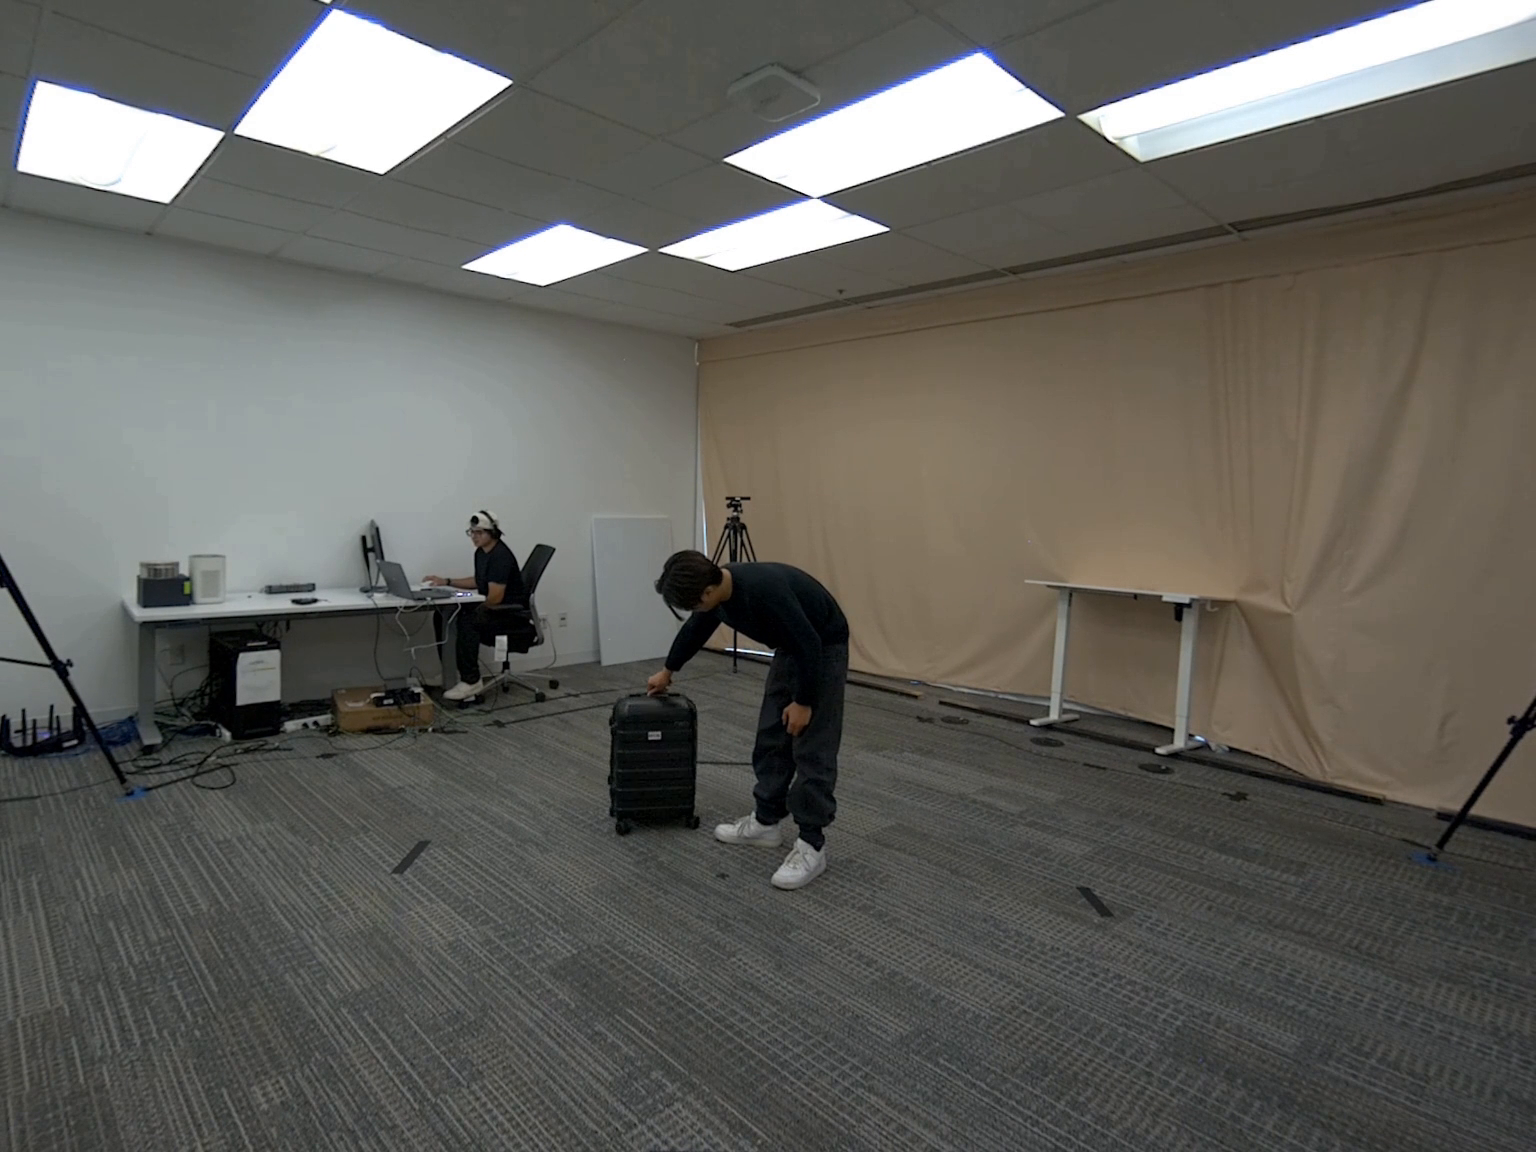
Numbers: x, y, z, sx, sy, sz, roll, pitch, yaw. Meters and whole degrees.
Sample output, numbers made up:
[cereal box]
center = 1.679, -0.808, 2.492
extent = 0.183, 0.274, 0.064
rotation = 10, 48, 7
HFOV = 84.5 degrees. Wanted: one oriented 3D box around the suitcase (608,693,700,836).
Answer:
[suitcase]
center = -0.493, 0.778, 3.601
extent = 0.372, 0.548, 0.251
rotation = 1, 4, -13
